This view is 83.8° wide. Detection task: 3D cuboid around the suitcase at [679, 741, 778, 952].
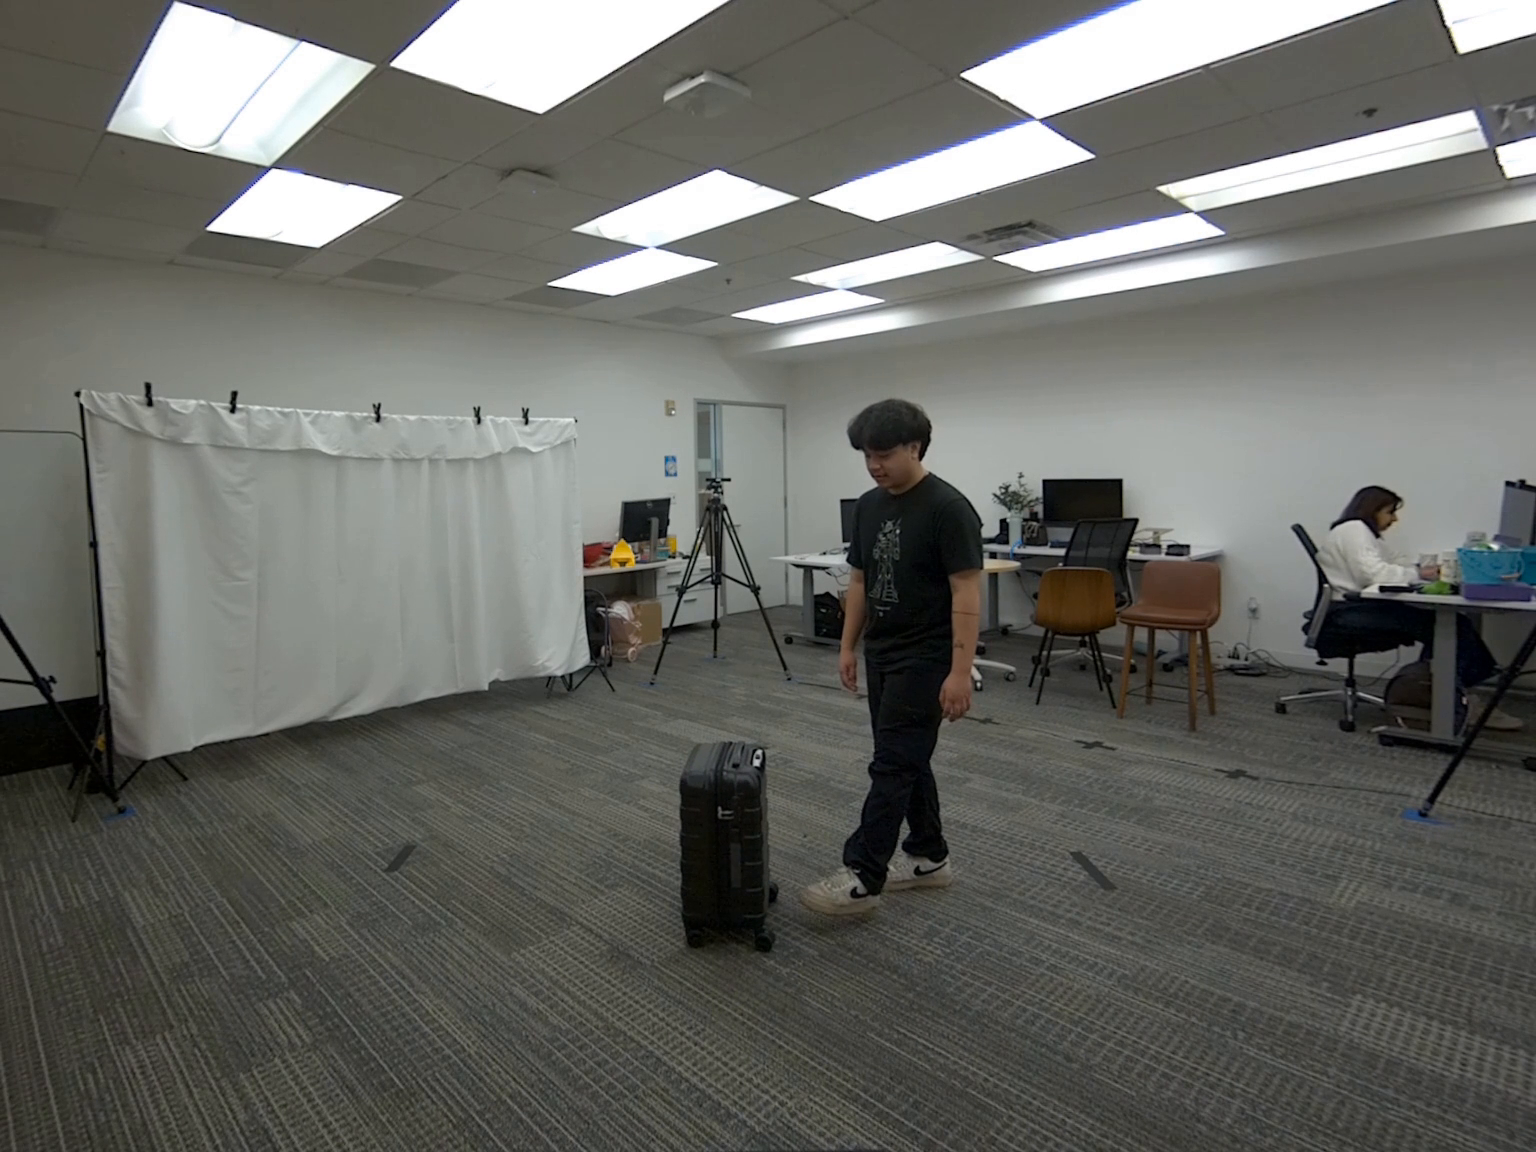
[{"bbox_3d":[-0.120,0.822,2.675,0.250,0.547,0.375,-4,5,6],"label":"suitcase"}]
